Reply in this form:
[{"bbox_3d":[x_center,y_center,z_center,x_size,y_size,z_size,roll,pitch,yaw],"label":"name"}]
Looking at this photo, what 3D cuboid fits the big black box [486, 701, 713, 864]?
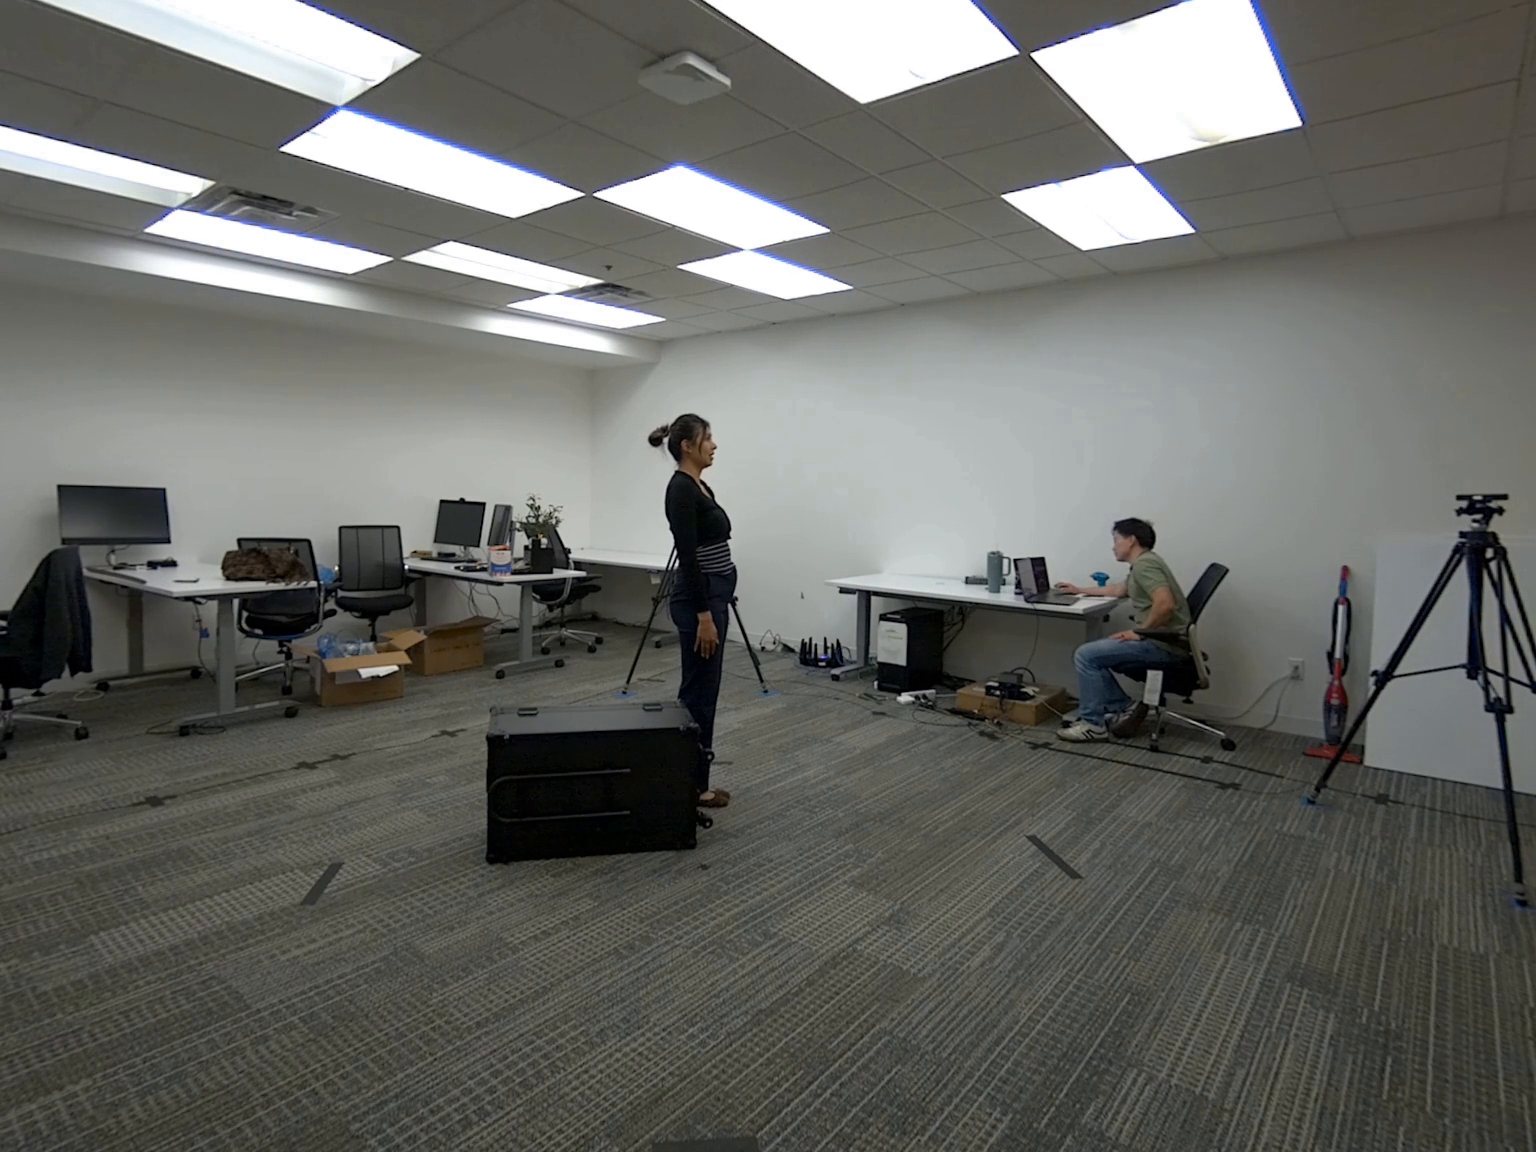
[{"bbox_3d":[-0.672,0.779,3.332,0.850,0.518,0.404,0,6,-13],"label":"big black box"}]
